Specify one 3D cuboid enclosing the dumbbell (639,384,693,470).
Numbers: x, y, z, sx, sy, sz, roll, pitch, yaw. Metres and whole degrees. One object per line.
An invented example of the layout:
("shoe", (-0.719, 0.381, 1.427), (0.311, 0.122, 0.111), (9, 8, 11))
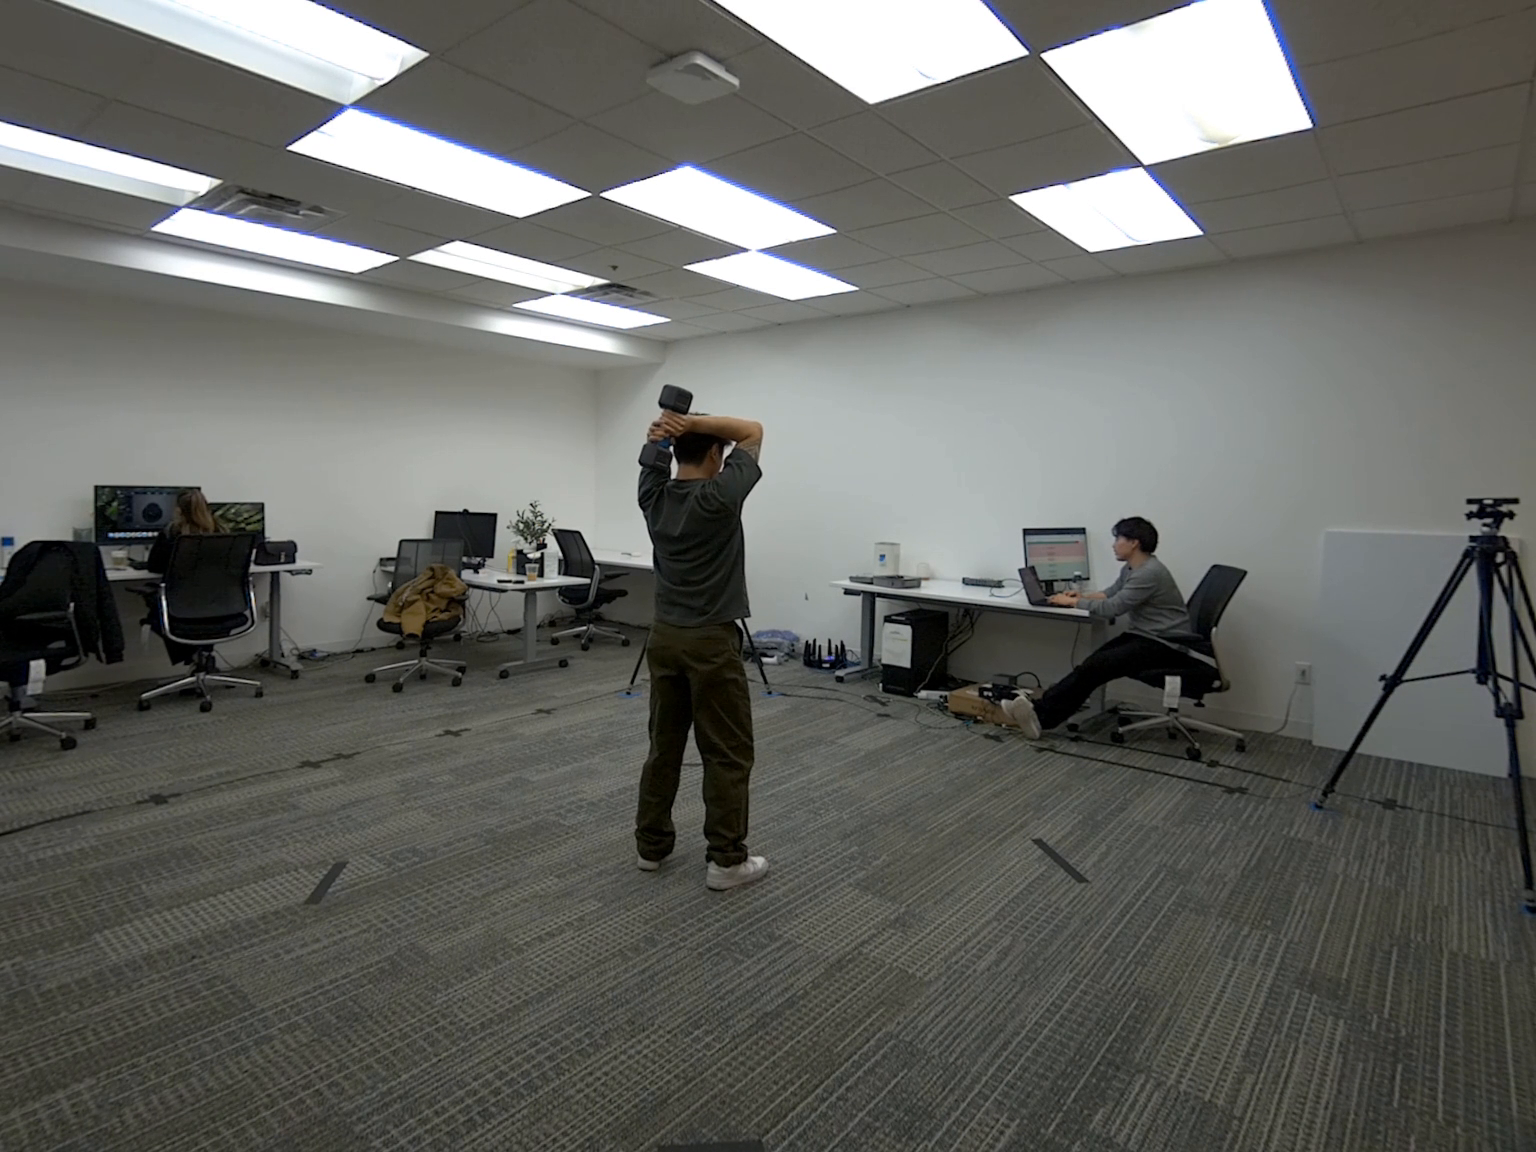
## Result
("dumbbell", (-0.364, -0.515, 2.914), (0.118, 0.294, 0.112), (21, -1, -34))
